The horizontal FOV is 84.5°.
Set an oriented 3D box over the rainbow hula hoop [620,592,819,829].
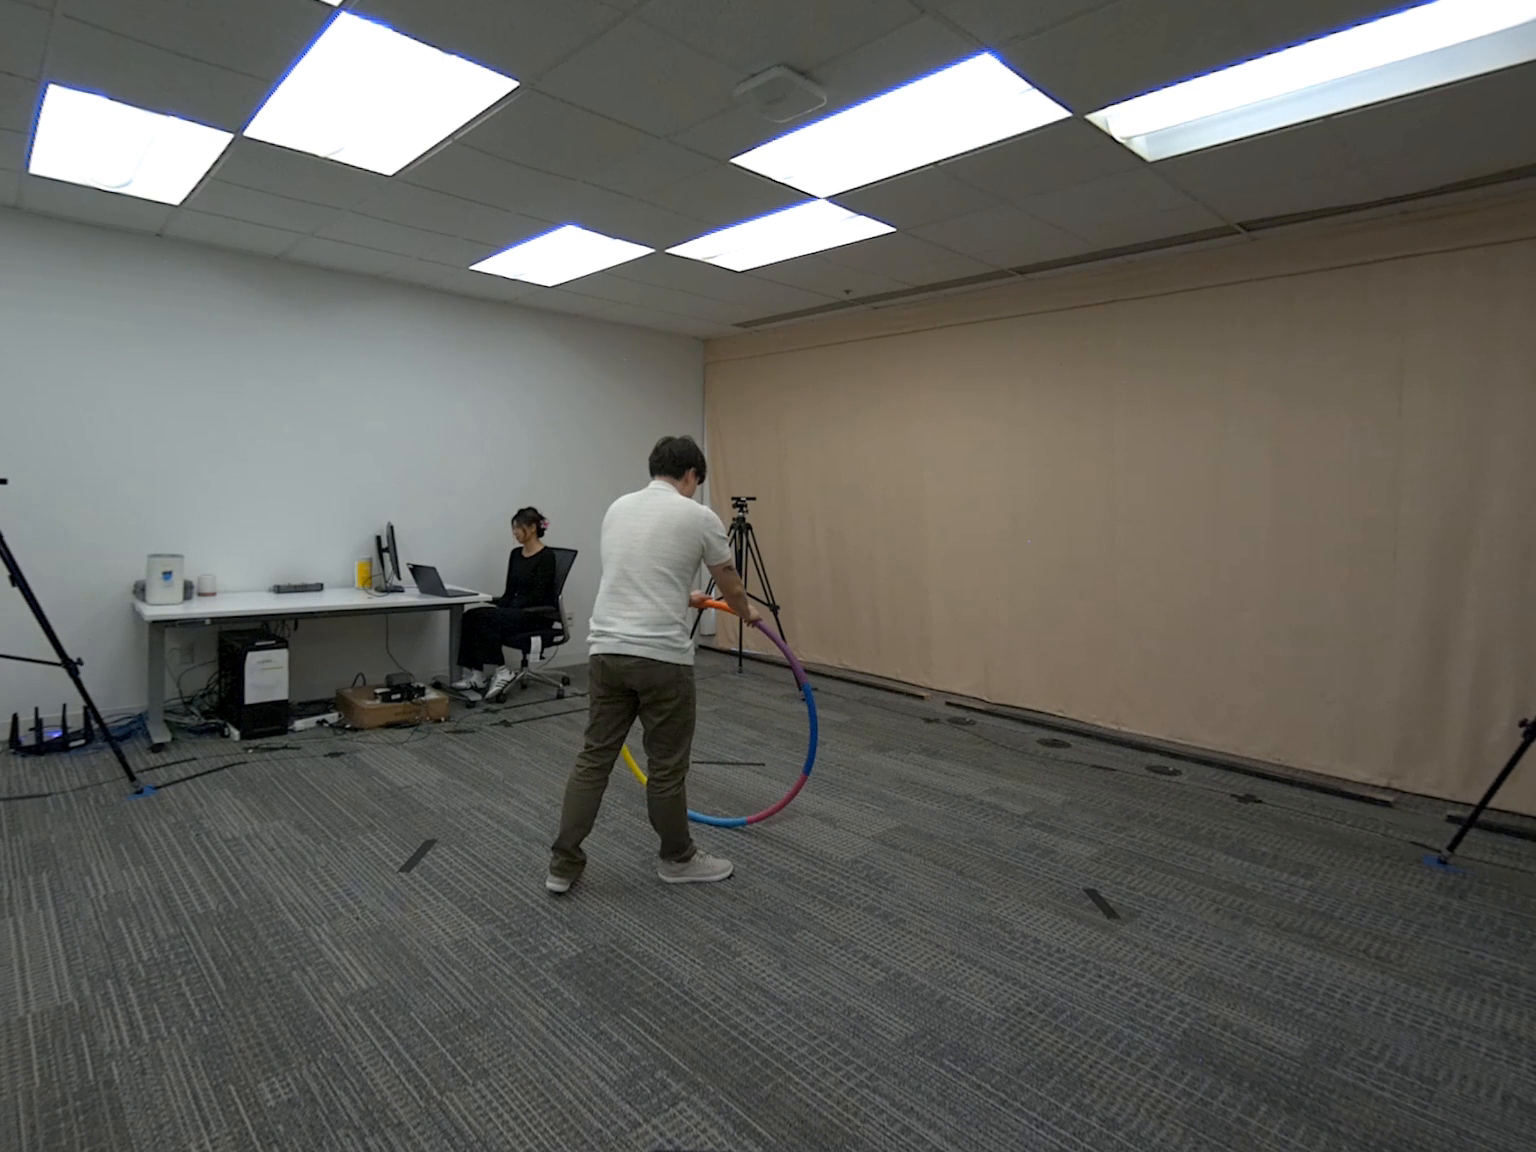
[{"bbox_3d":[-0.259,0.578,3.546,0.998,0.973,0.035,3,7,26],"label":"rainbow hula hoop"}]
